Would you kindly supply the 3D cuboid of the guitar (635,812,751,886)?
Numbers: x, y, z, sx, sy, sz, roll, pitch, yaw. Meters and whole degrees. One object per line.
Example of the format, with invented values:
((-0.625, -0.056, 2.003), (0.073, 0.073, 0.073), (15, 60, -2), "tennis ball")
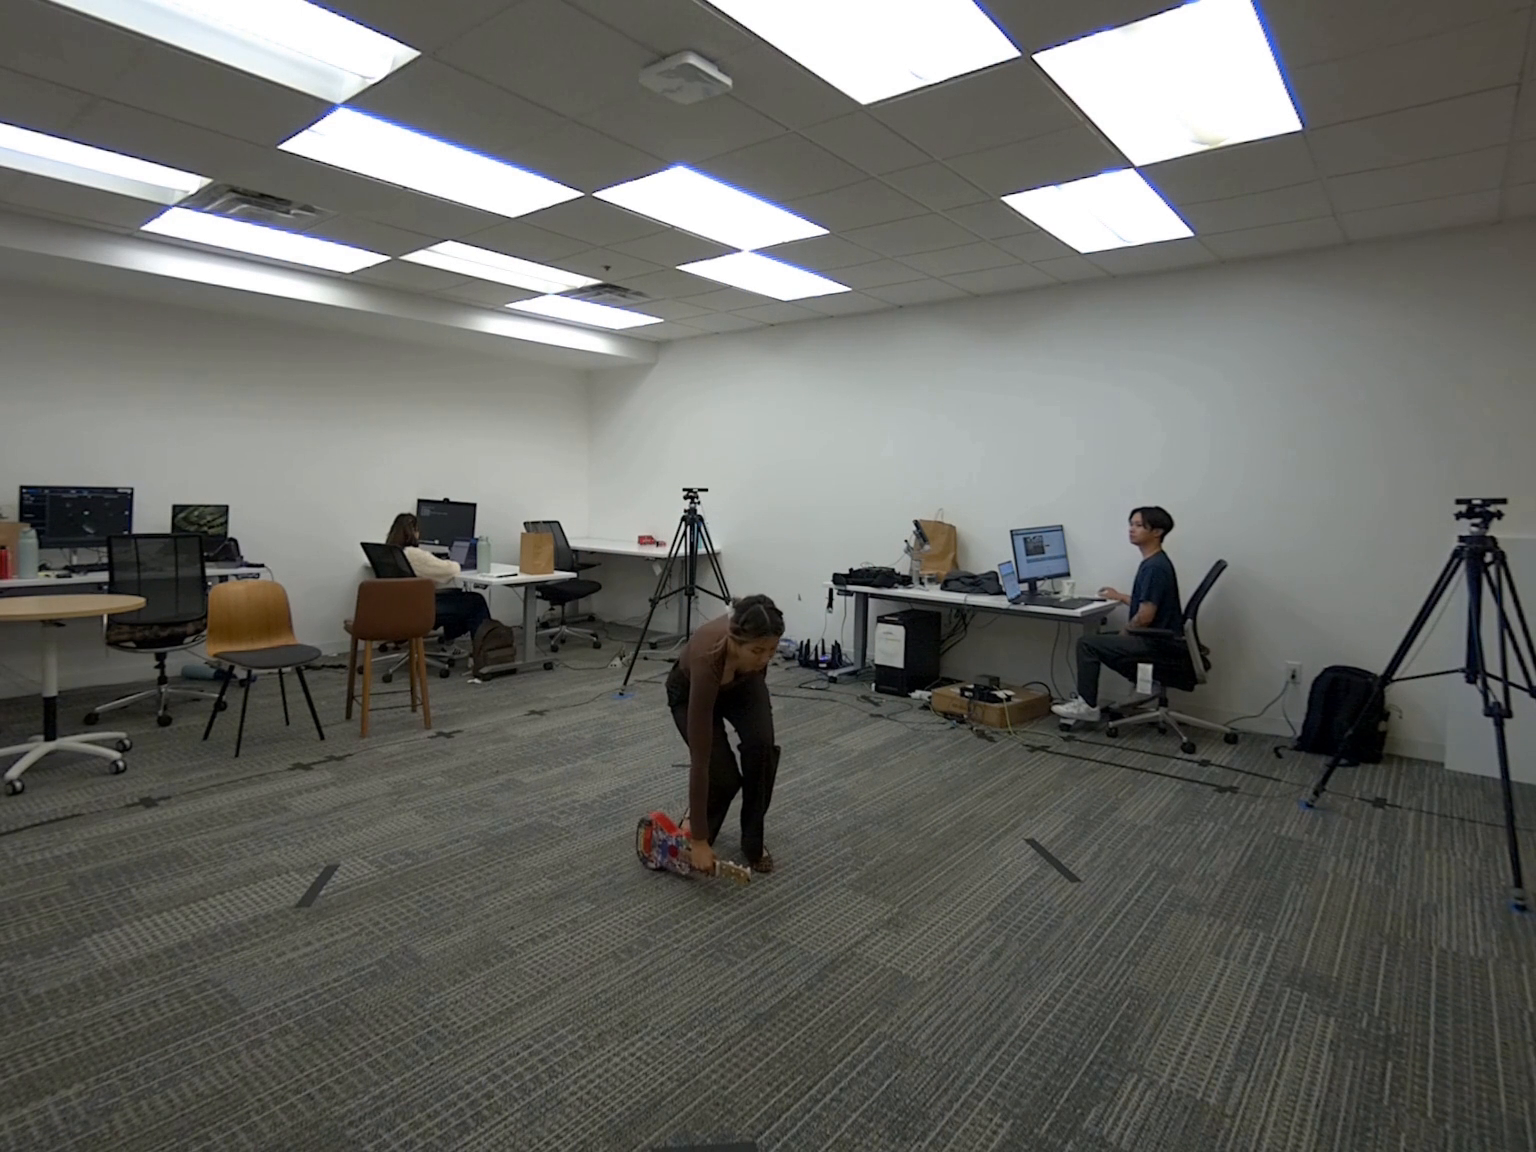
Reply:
((-0.280, 1.003, 3.016), (0.516, 0.192, 0.068), (17, 10, 32), "guitar")
